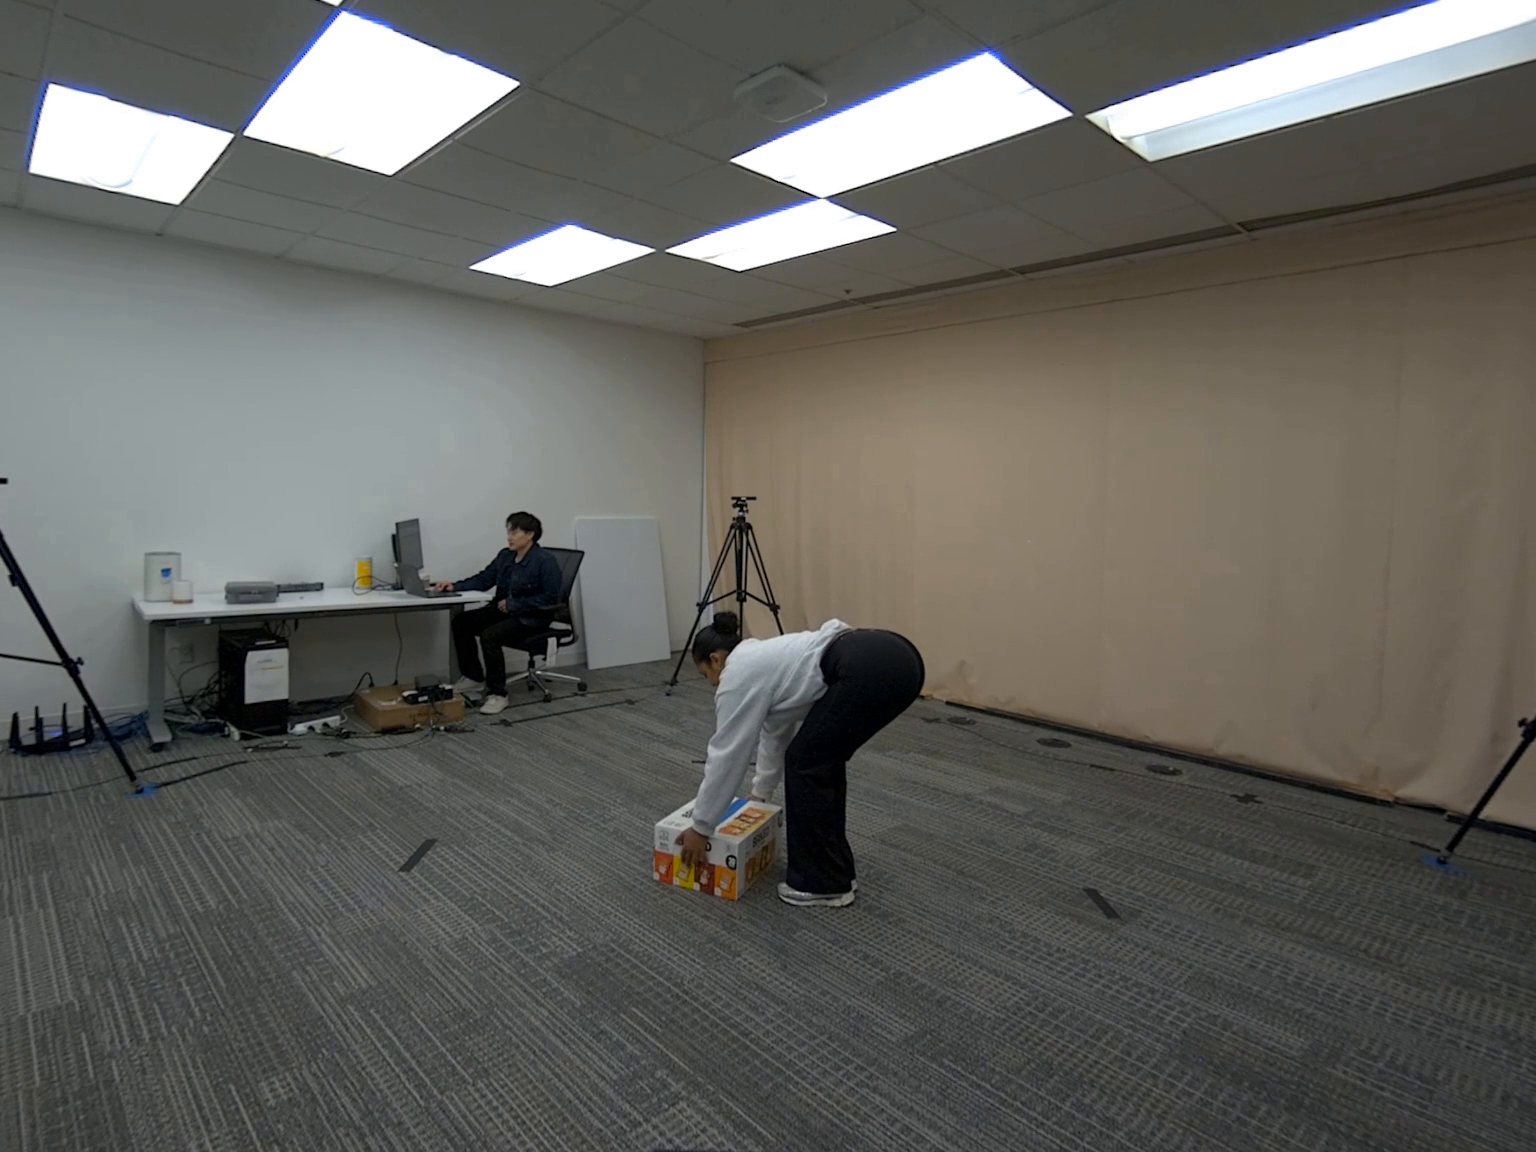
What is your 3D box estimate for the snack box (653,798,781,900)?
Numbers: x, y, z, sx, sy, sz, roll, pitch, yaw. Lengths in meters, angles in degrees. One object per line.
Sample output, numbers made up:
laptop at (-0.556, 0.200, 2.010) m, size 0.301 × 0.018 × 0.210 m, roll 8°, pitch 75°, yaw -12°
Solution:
snack box at (-0.183, 0.996, 3.157) m, size 0.347 × 0.205 × 0.398 m, roll 4°, pitch 6°, yaw 25°
